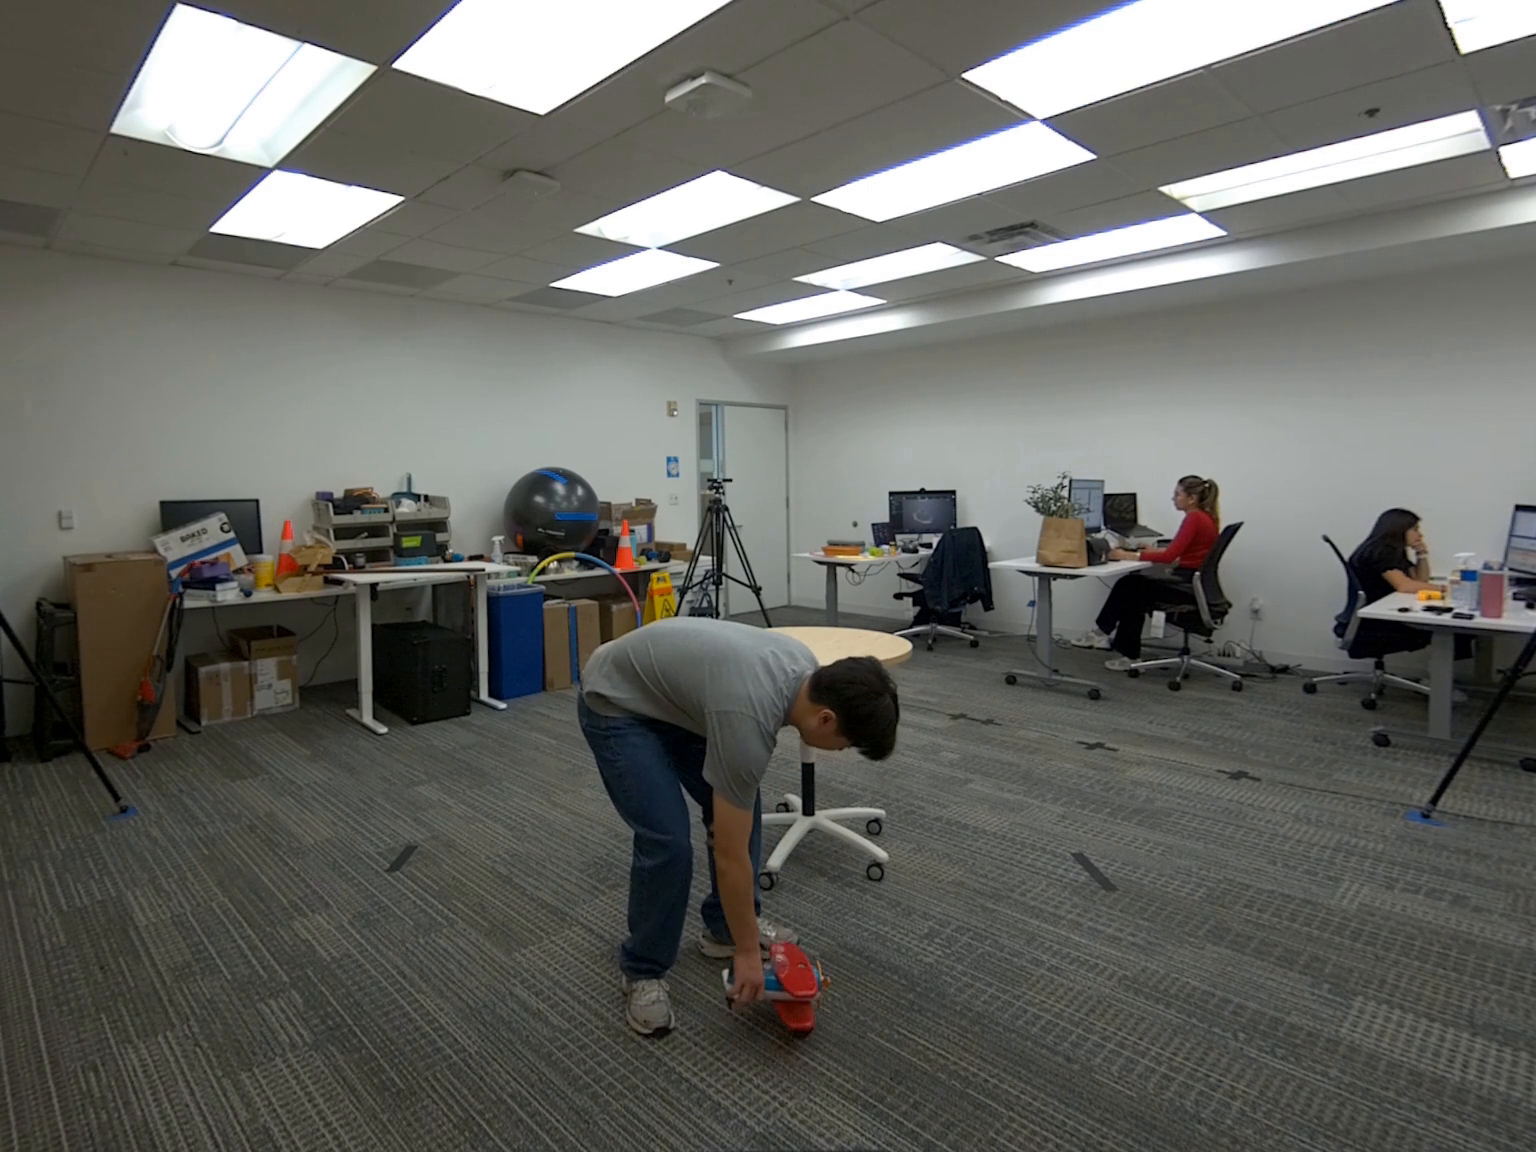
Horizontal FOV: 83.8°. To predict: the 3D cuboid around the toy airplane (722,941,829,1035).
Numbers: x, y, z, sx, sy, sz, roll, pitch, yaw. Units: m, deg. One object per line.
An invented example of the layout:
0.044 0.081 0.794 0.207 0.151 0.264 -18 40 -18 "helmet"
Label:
0.030 1.055 2.155 0.250 0.156 0.260 19 0 -38 "toy airplane"
